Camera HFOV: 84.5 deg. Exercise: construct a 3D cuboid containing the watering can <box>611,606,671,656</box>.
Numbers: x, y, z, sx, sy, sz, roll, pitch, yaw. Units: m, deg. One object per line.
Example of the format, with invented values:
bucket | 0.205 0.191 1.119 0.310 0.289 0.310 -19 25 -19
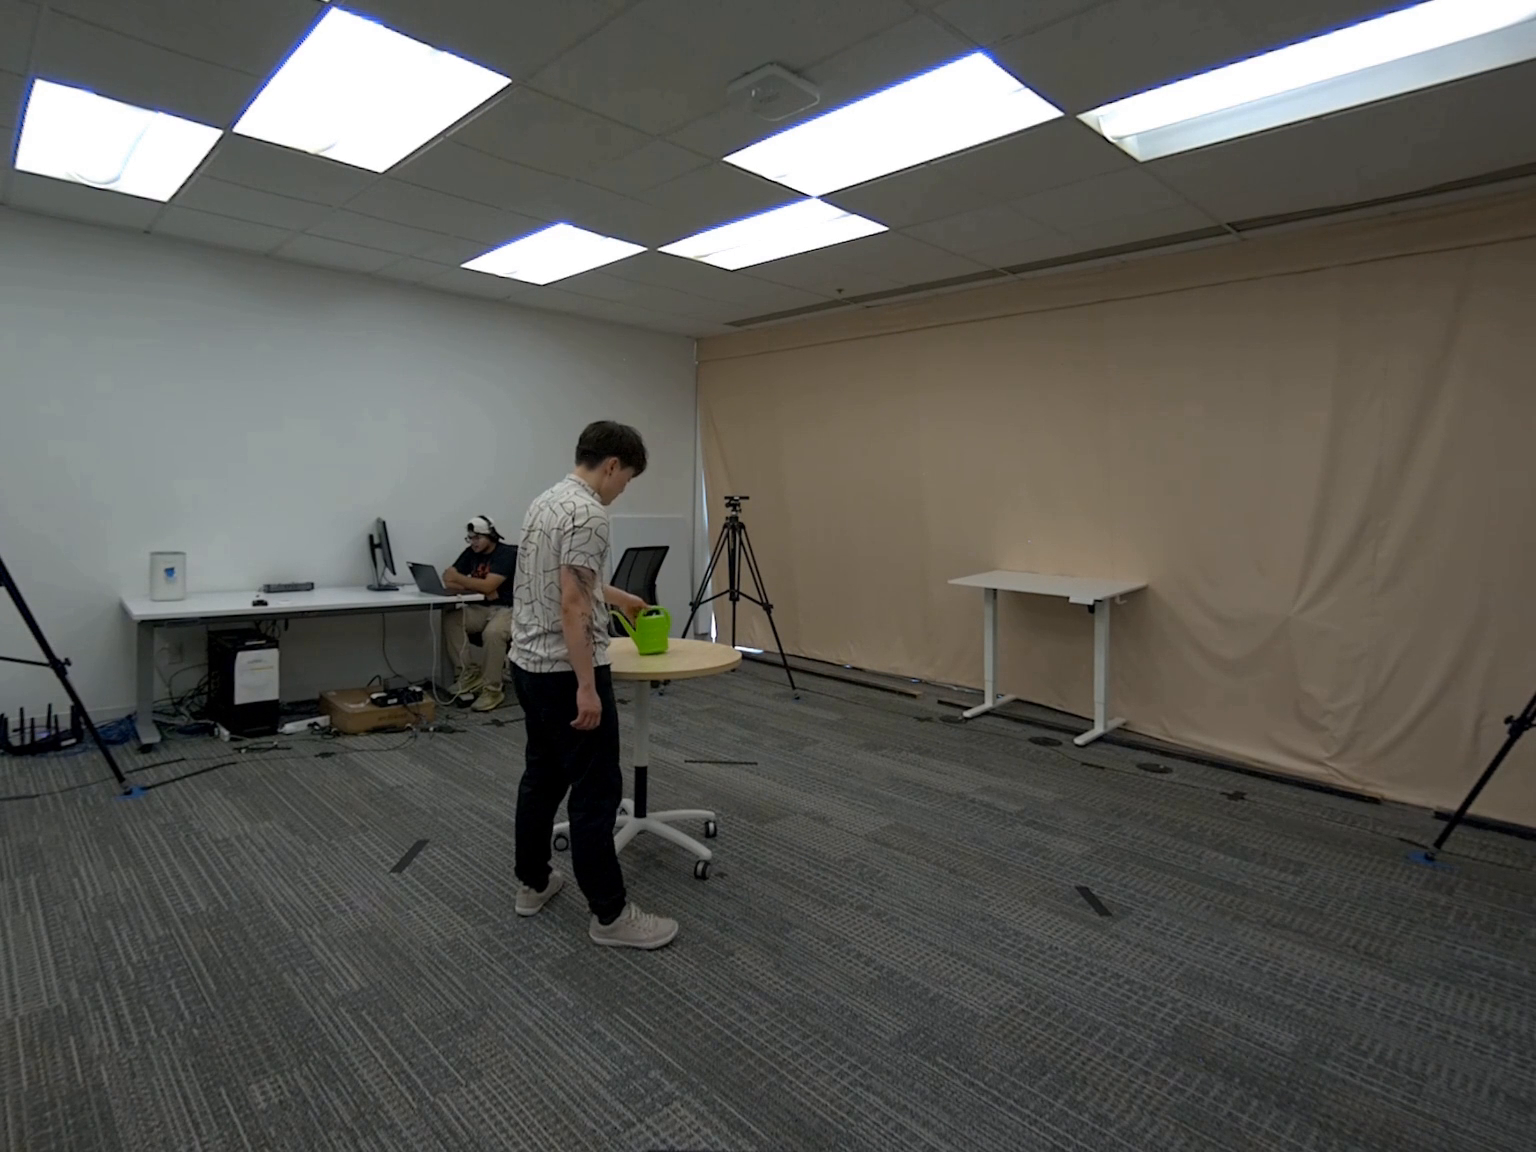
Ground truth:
watering can | -0.494 0.203 3.226 0.272 0.176 0.100 -2 2 -32
